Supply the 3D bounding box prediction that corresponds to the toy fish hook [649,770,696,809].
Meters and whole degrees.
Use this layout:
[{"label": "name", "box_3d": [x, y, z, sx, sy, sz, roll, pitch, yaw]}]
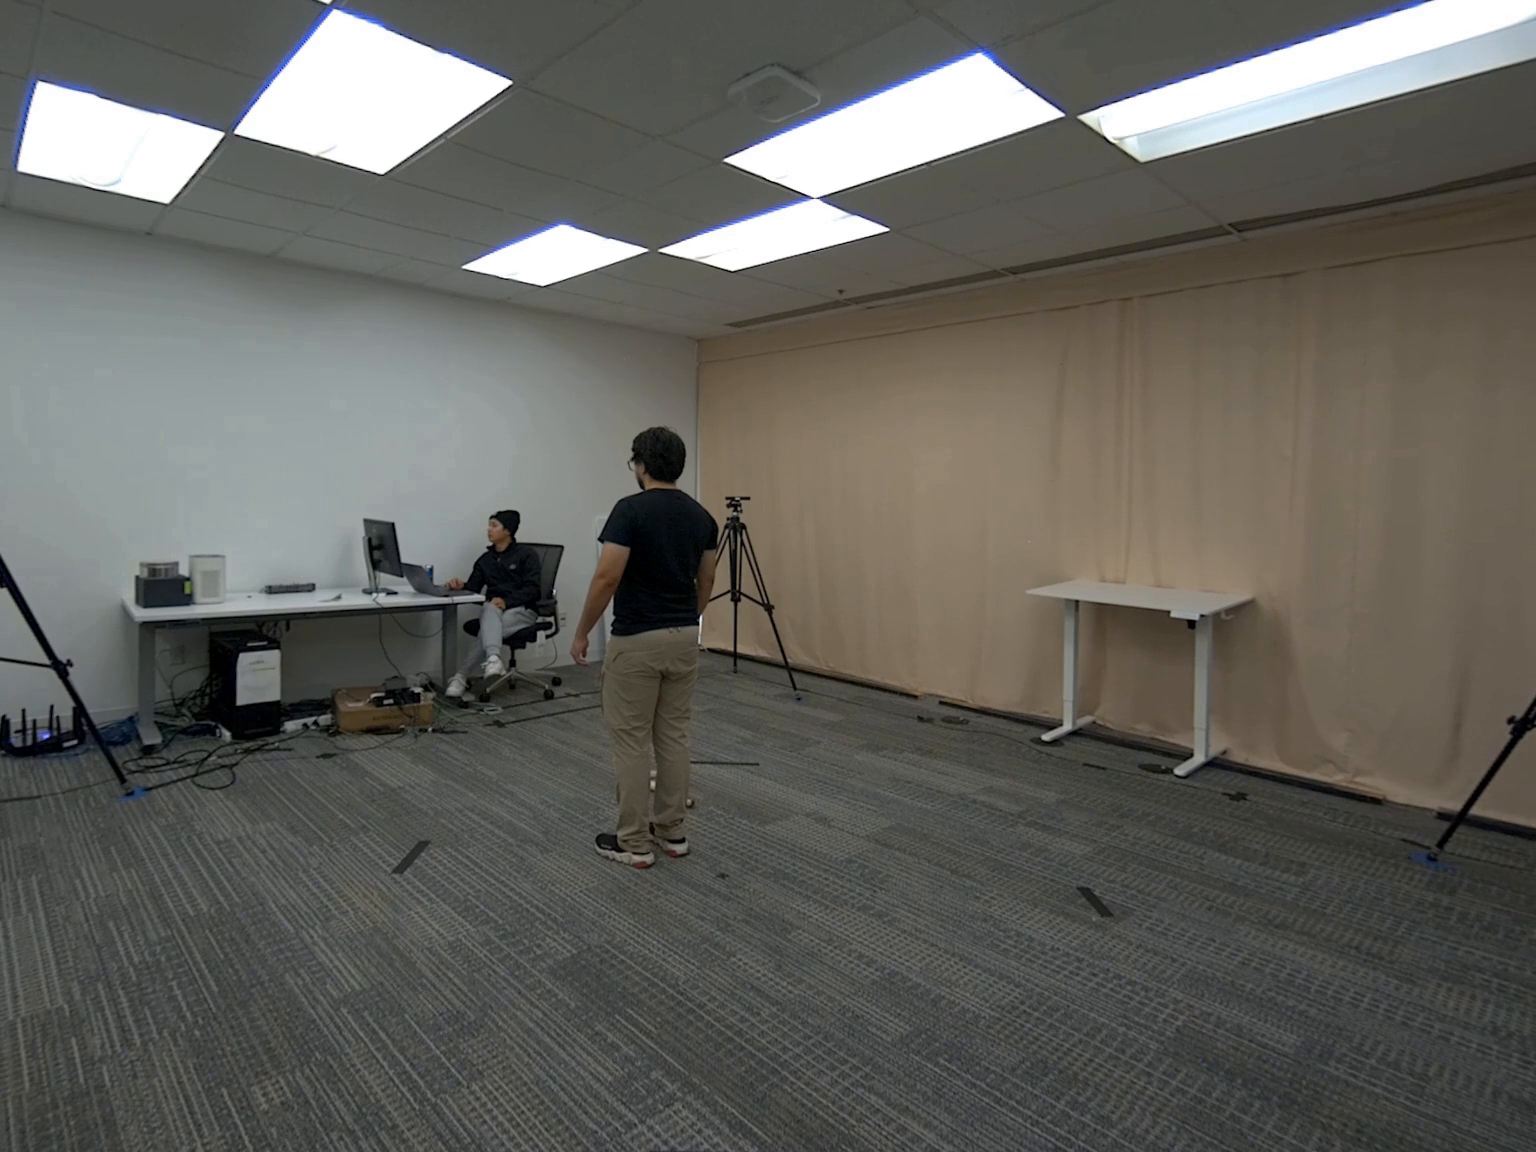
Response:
[{"label": "toy fish hook", "box_3d": [-0.465, 1.005, 4.005, 0.220, 0.048, 0.519, -3, 7, -38]}]
